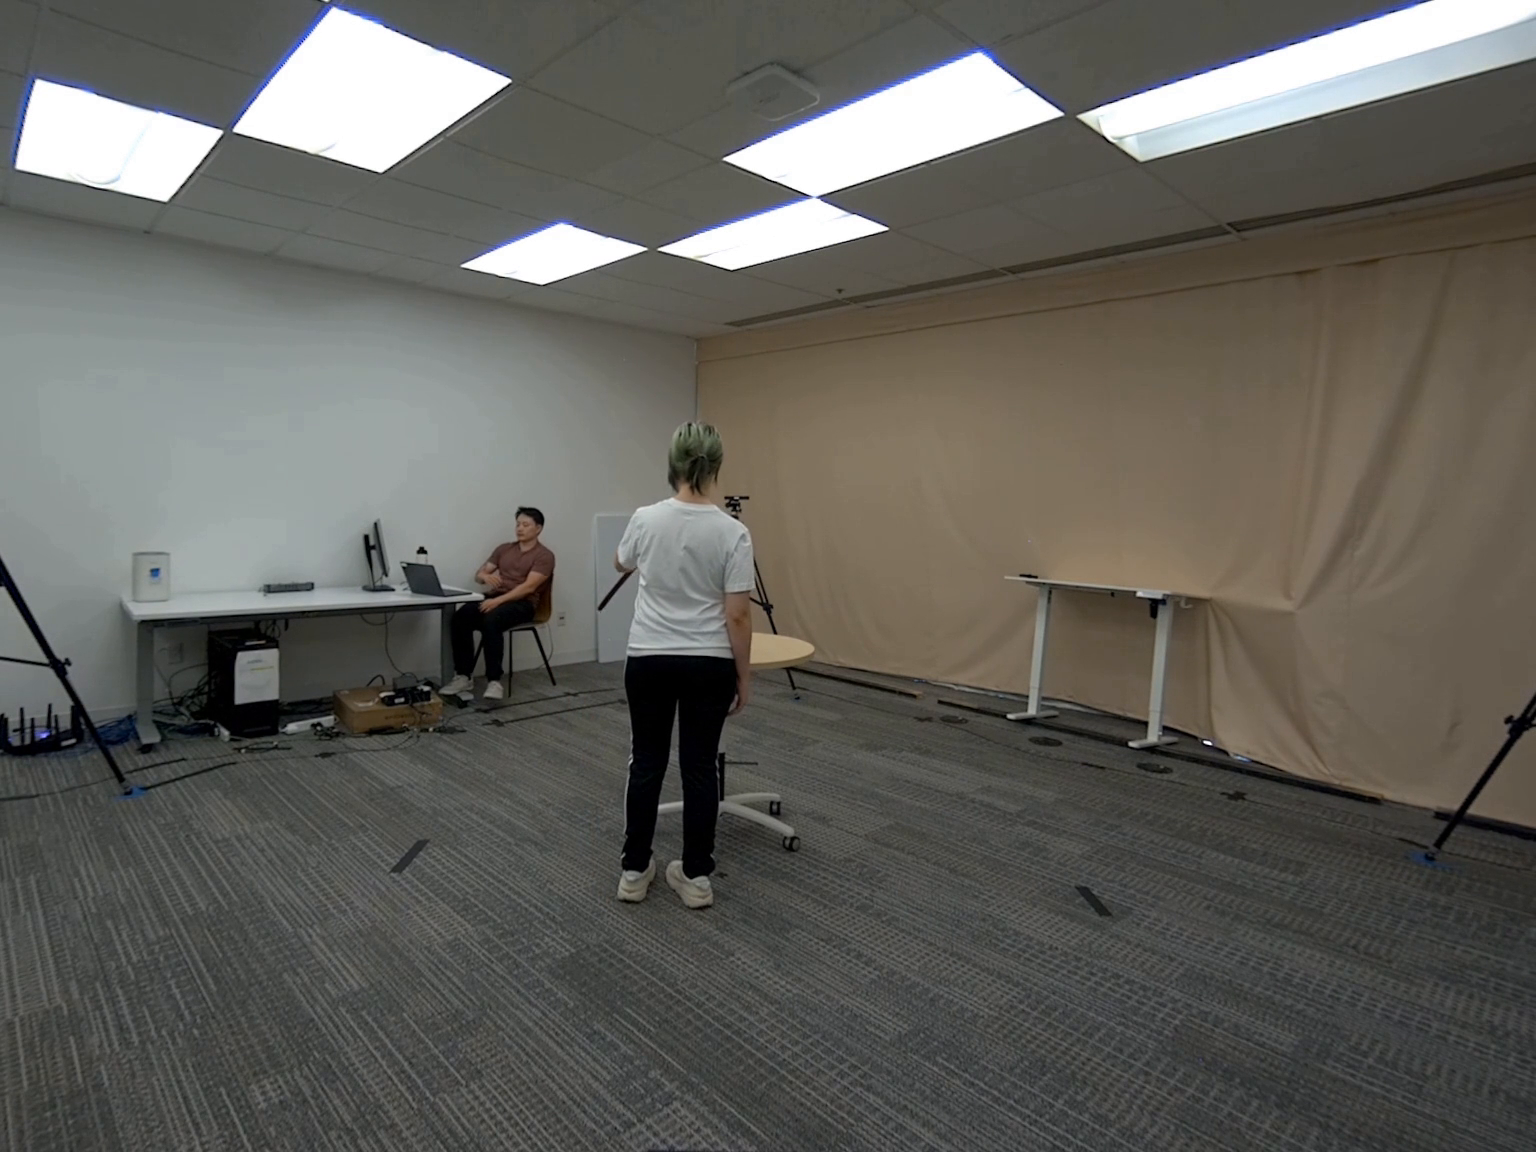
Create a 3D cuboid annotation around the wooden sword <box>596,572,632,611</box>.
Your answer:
[{"bbox_3d":[-0.596,-0.009,3.596,0.024,0.052,1.025,32,-38,-11],"label":"wooden sword"}]
